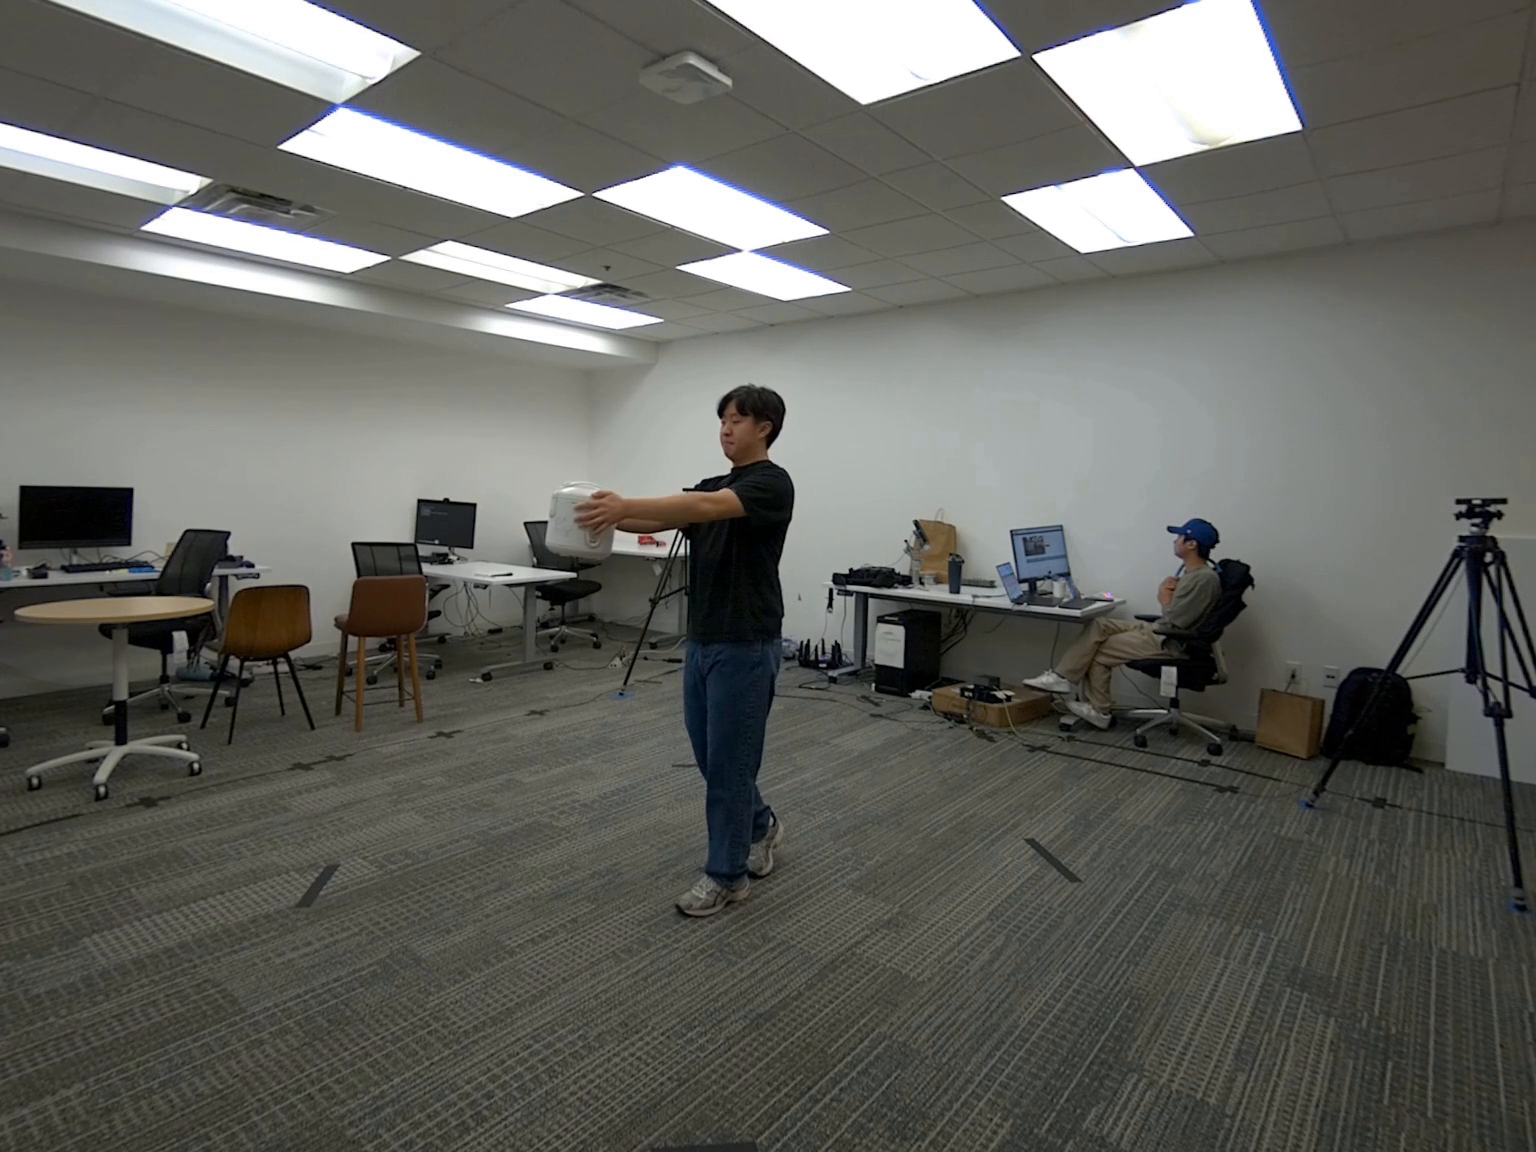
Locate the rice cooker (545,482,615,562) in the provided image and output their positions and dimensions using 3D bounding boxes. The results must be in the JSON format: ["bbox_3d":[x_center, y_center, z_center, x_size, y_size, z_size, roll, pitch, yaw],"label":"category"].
[{"bbox_3d":[-0.577,-0.178,2.643,0.214,0.233,0.224,6,0,-33],"label":"rice cooker"}]
